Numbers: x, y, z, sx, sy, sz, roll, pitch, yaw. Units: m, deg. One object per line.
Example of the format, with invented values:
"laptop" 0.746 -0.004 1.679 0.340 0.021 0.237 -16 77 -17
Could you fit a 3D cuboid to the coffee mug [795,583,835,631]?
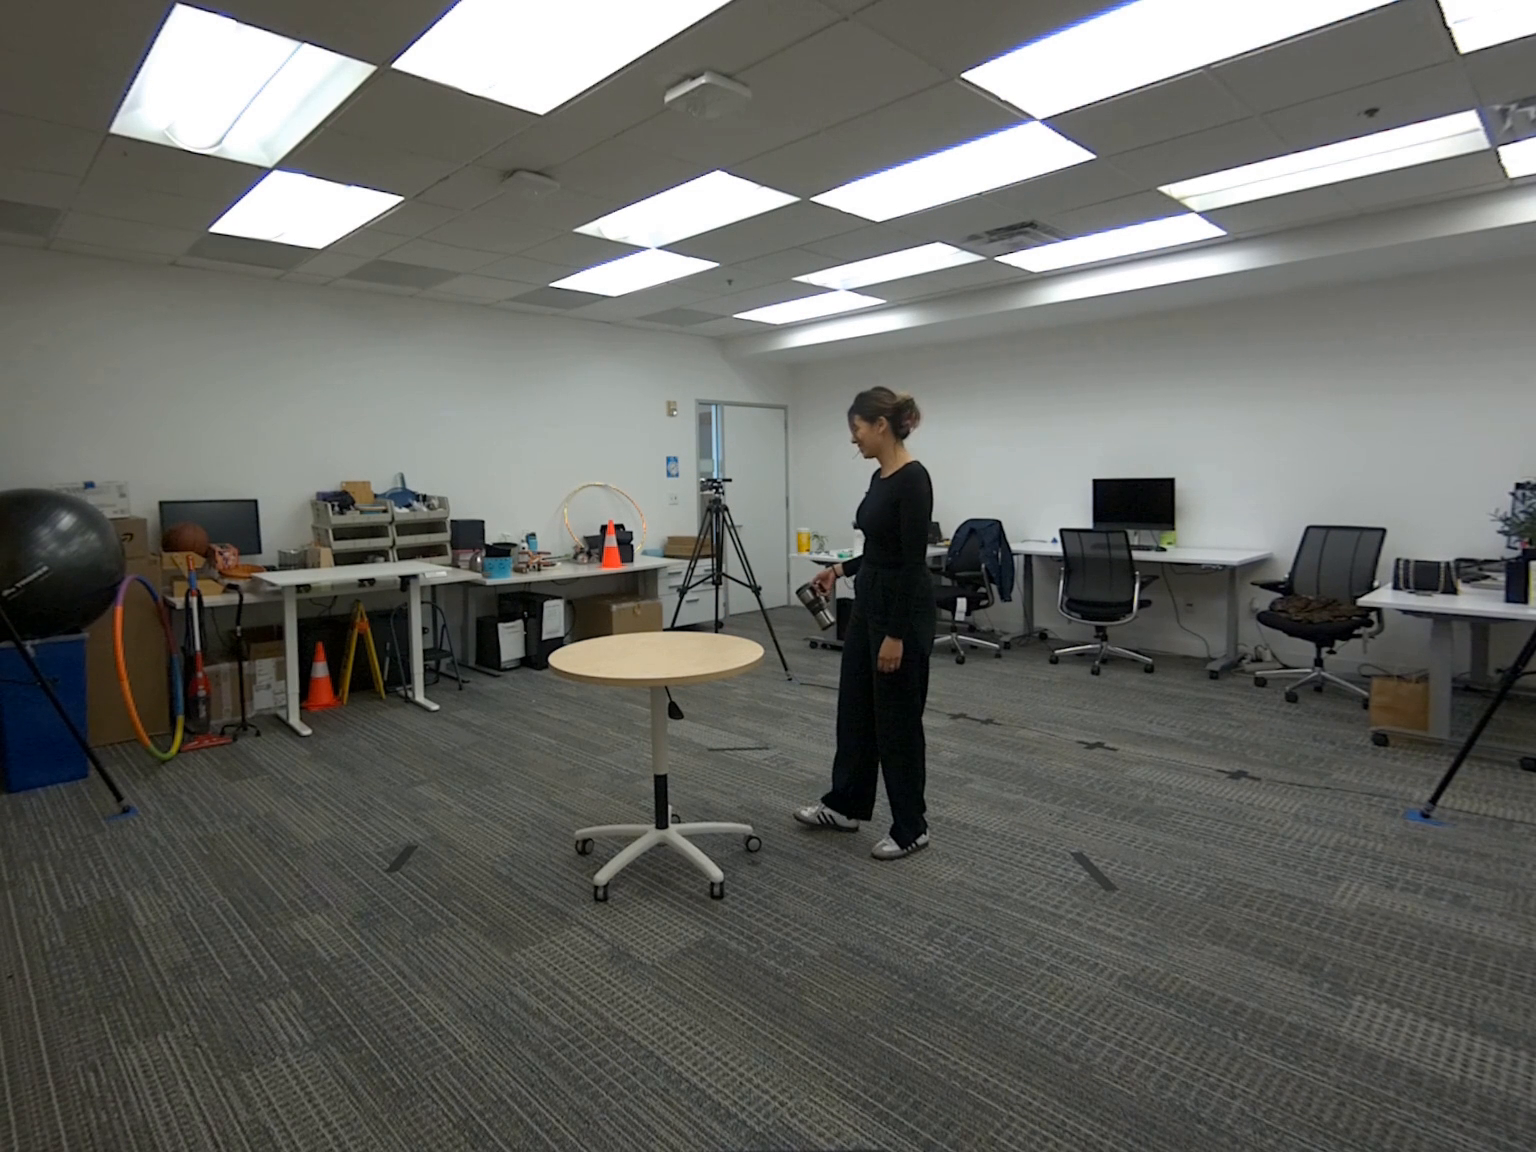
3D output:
"coffee mug" 0.214 0.122 3.580 0.086 0.207 0.122 -19 -17 -34
